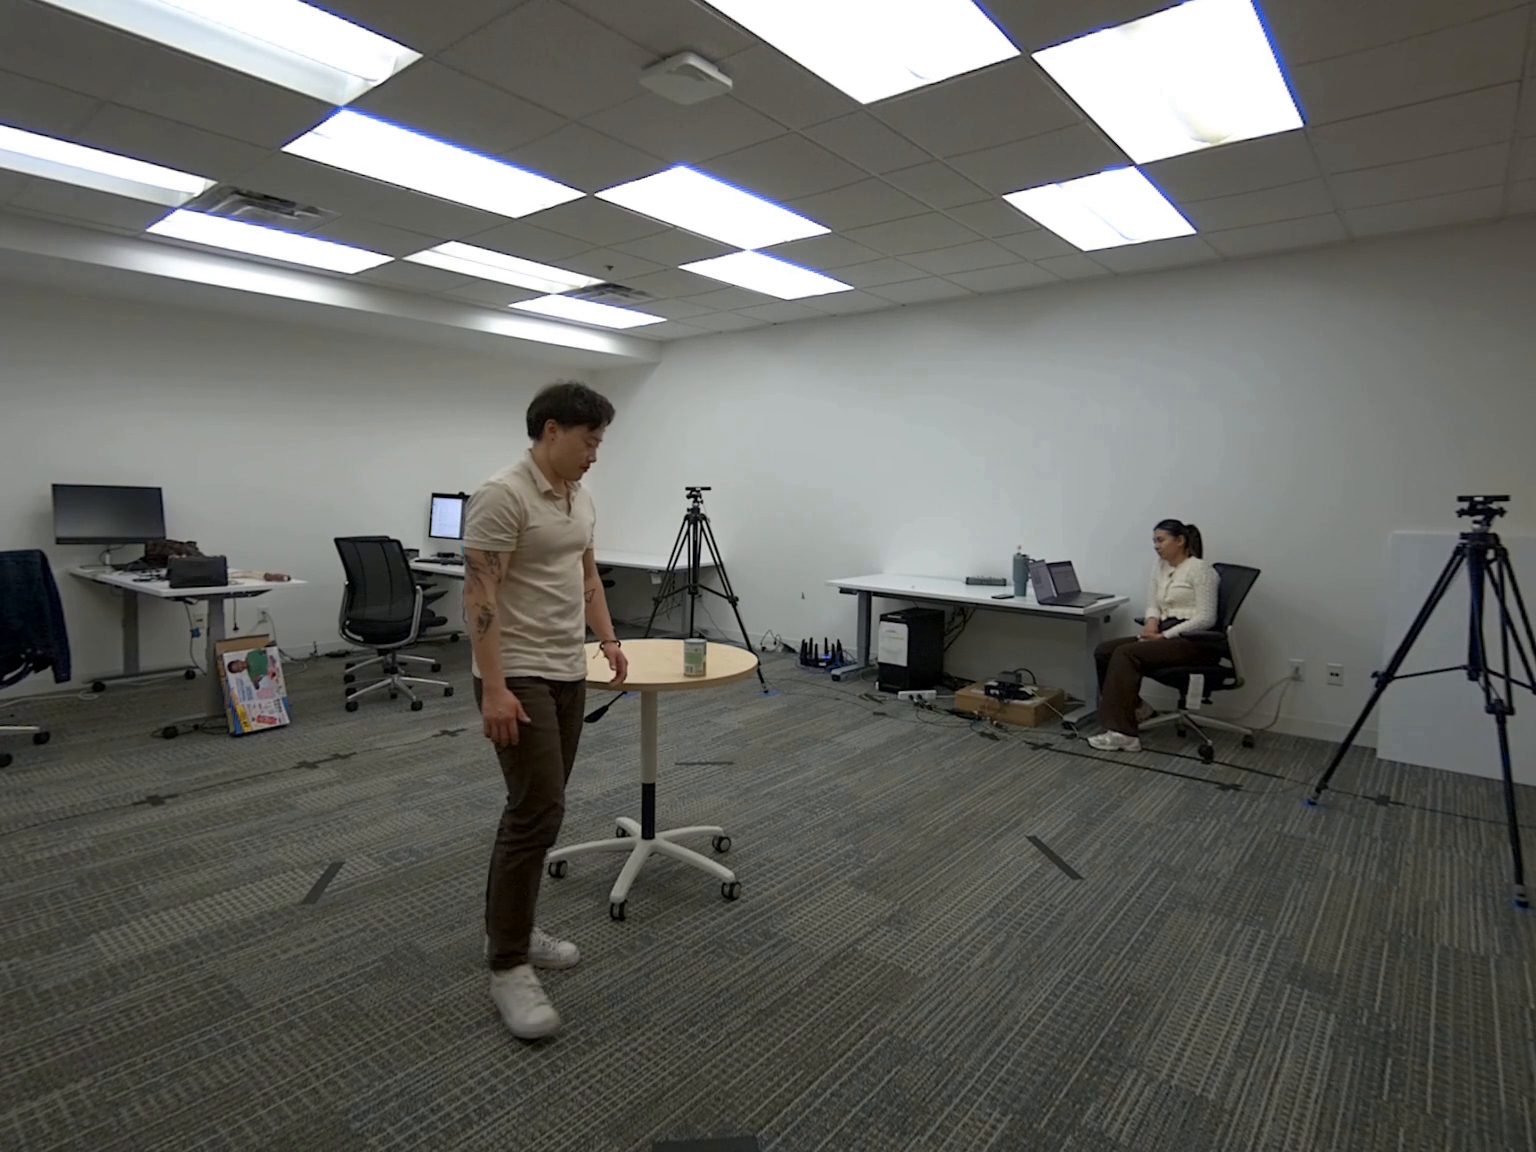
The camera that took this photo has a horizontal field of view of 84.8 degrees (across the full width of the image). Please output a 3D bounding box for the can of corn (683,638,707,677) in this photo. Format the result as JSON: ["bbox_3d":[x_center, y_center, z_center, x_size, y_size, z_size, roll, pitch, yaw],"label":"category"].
[{"bbox_3d":[-0.242,0.261,2.735,0.074,0.110,0.074,2,4,-2],"label":"can of corn"}]
